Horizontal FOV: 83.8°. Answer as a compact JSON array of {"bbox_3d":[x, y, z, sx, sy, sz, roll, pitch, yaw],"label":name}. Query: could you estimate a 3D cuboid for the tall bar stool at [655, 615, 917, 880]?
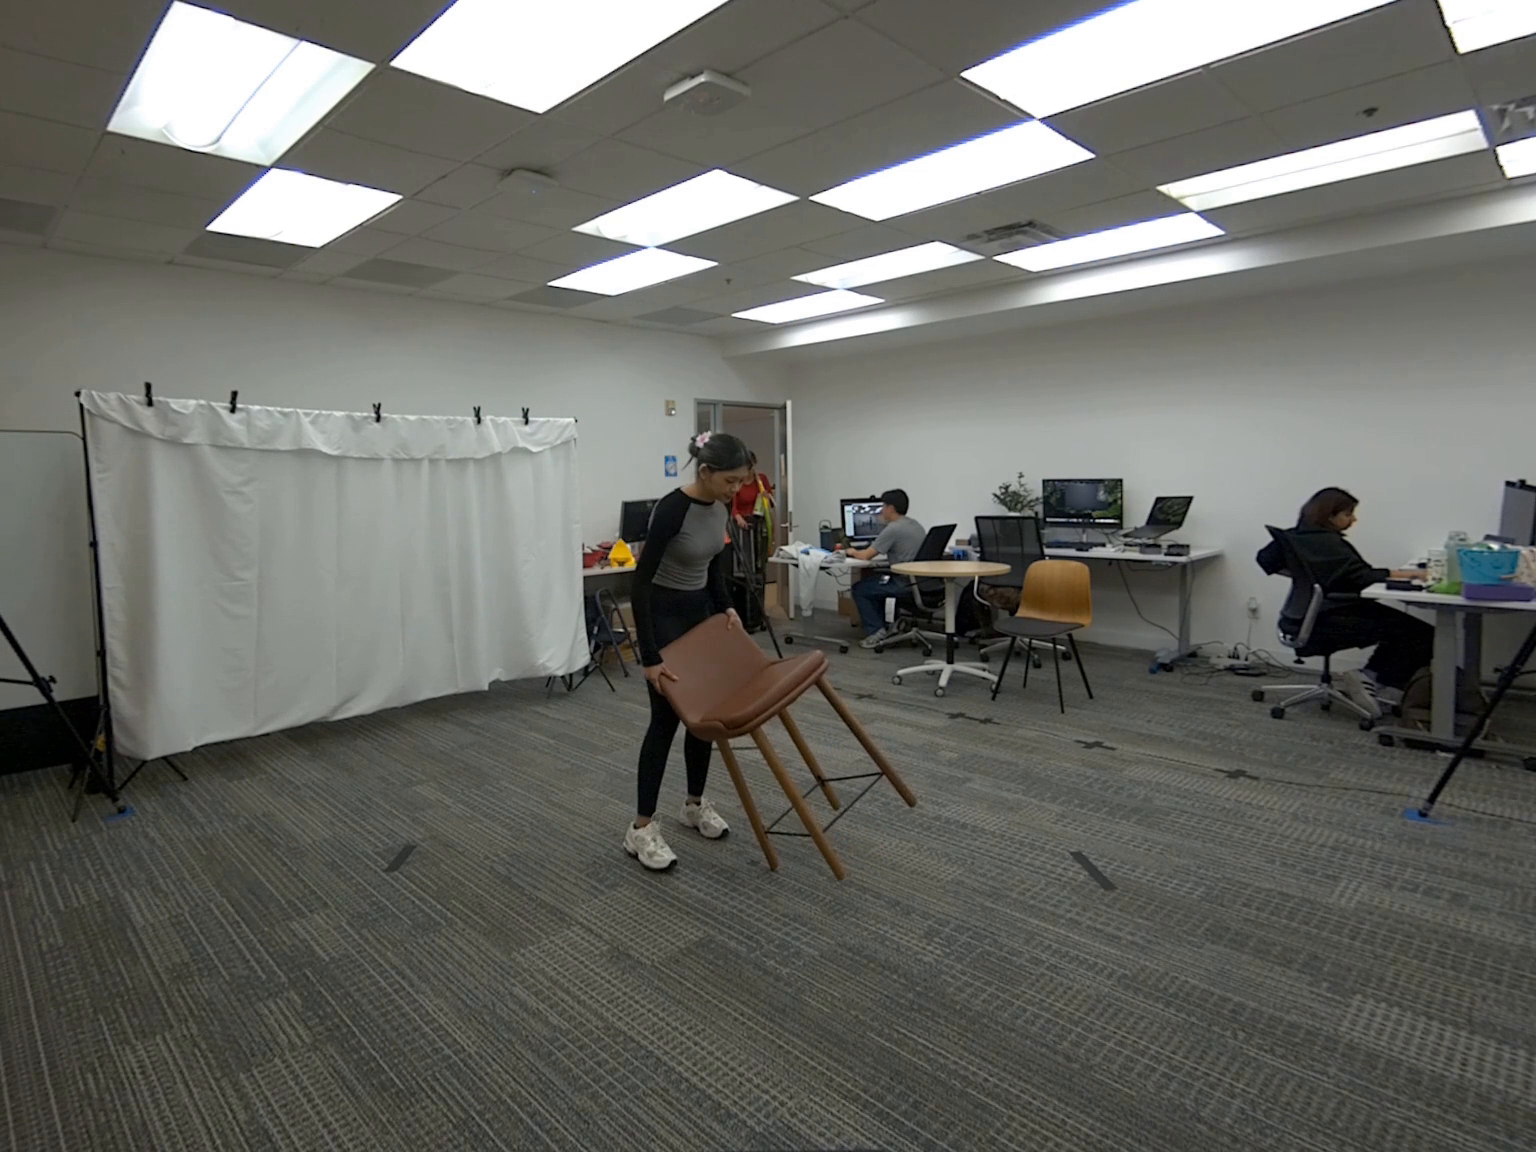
[{"bbox_3d":[0.033,0.541,2.974,0.452,0.892,0.471,-31,-1,-34],"label":"tall bar stool"}]
